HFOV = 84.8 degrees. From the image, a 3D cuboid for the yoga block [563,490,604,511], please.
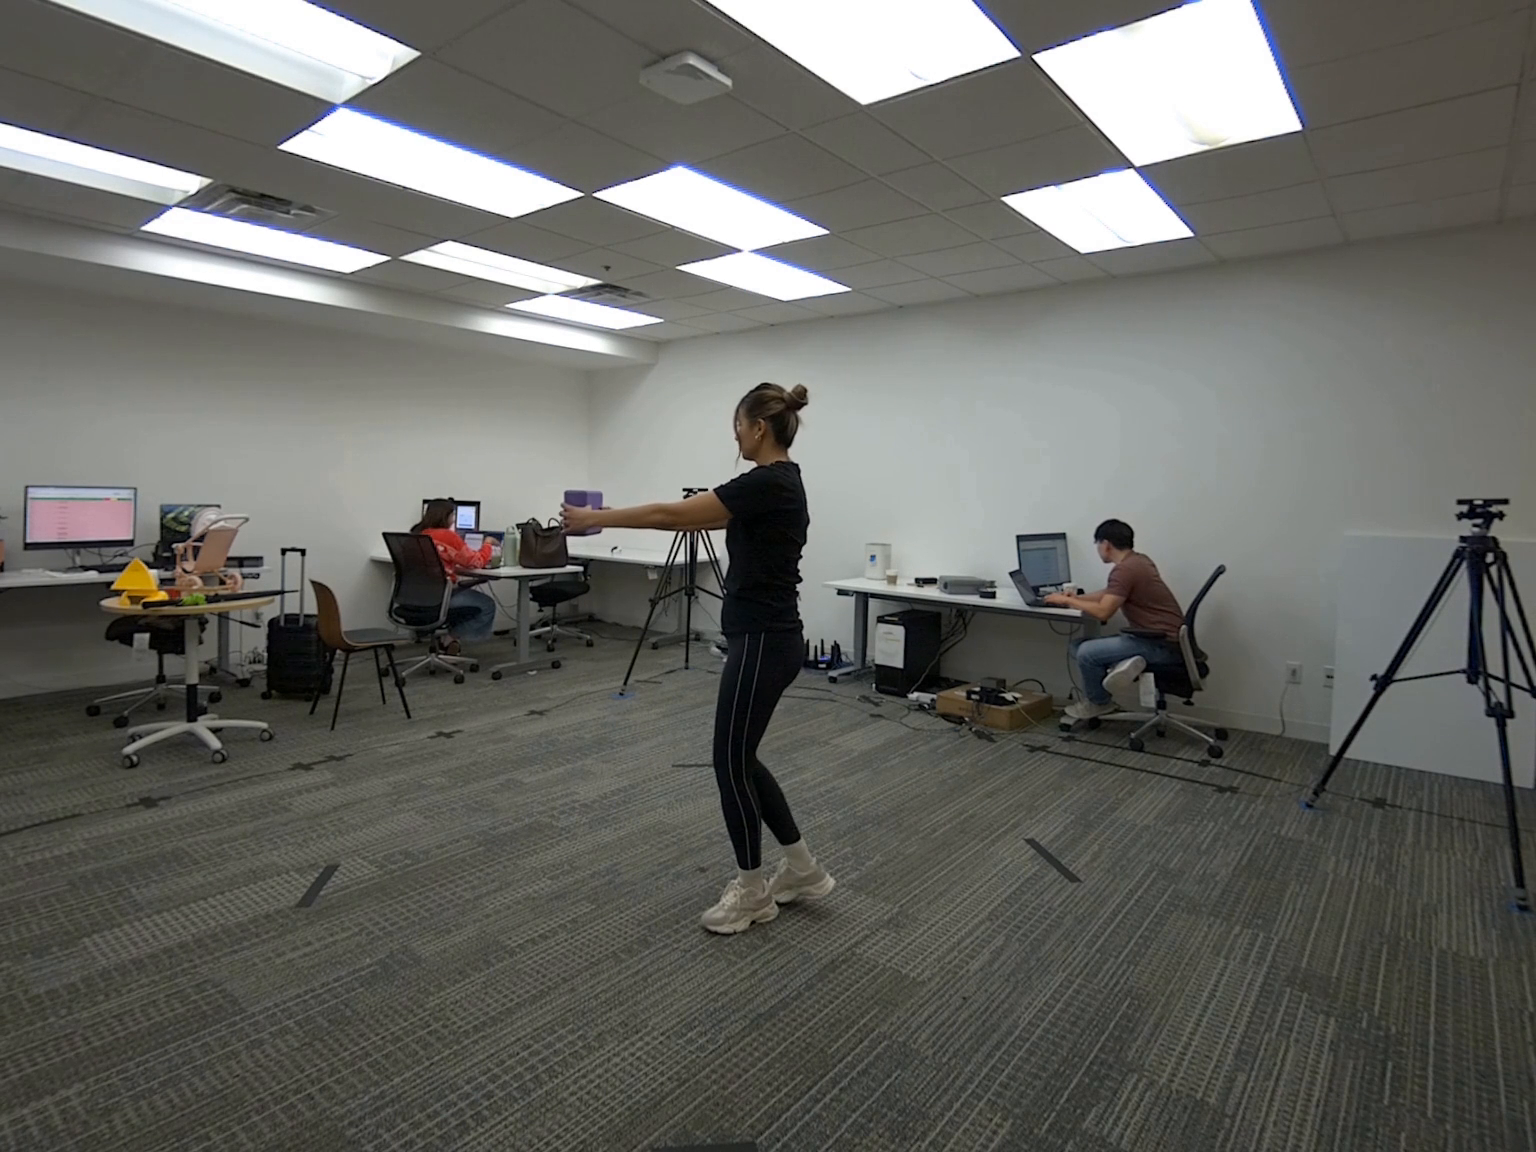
[{"bbox_3d":[-0.625,-0.214,2.805,0.077,0.148,0.229,2,4,3],"label":"yoga block"}]
